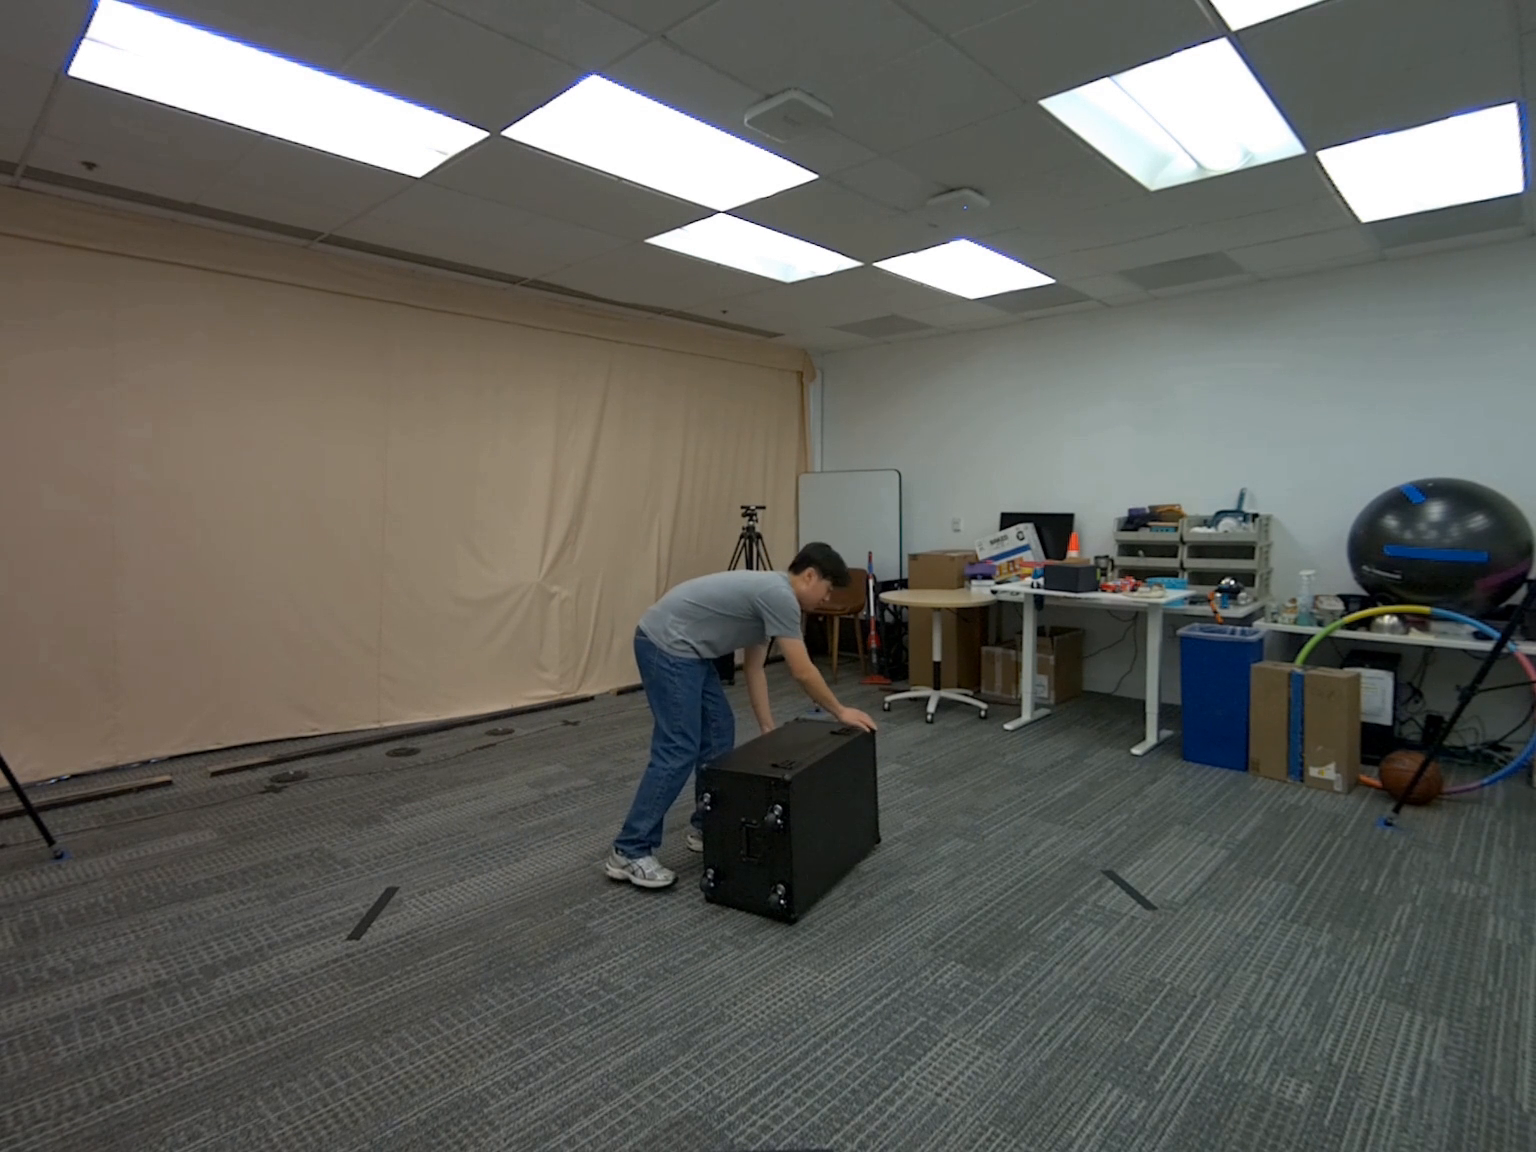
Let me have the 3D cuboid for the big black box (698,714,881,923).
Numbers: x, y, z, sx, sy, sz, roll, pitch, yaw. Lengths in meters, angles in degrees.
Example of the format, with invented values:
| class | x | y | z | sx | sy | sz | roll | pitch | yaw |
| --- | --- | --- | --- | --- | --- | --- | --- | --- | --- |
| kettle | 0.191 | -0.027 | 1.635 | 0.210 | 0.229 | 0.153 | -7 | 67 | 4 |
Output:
| class | x | y | z | sx | sy | sz | roll | pitch | yaw |
| --- | --- | --- | --- | --- | --- | --- | --- | --- | --- |
| big black box | 0.086 | 0.870 | 3.166 | 0.407 | 0.520 | 0.839 | -1 | 3 | 29 |
